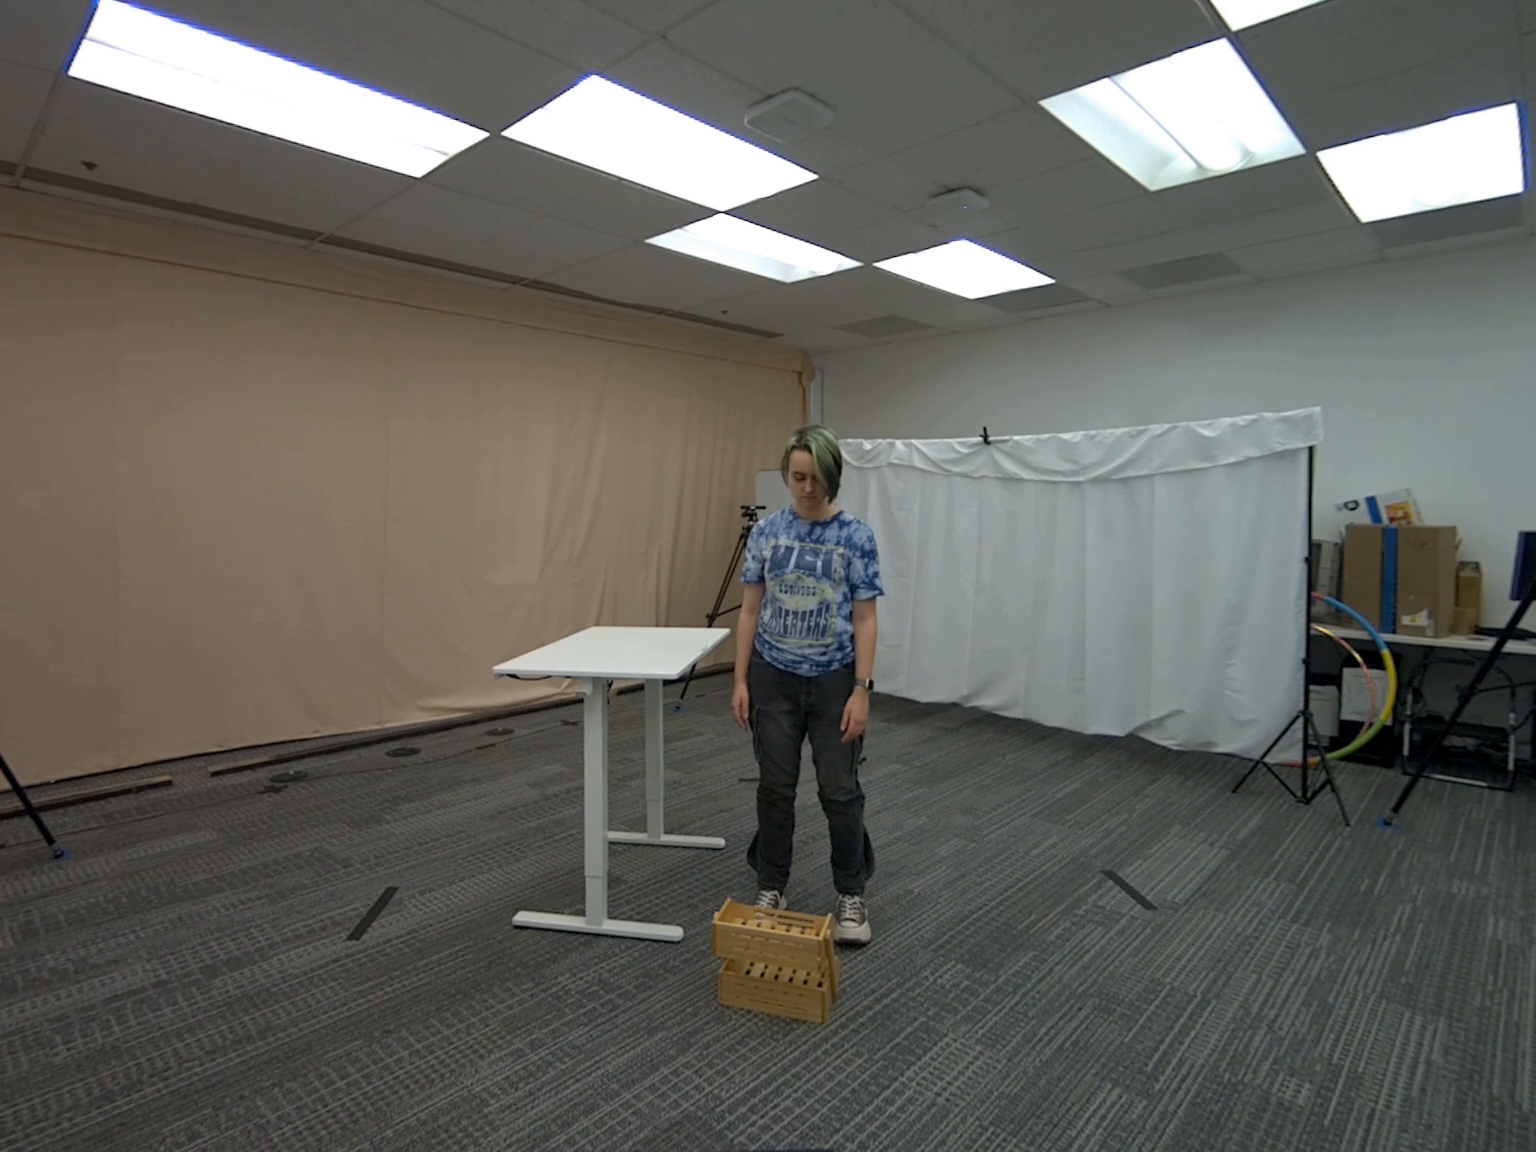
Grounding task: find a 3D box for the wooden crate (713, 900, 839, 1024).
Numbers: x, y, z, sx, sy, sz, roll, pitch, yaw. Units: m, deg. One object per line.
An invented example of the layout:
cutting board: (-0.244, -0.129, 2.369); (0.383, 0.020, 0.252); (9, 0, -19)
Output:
wooden crate: (0.033, 1.058, 2.395); (0.330, 0.273, 0.297); (2, 4, 17)
